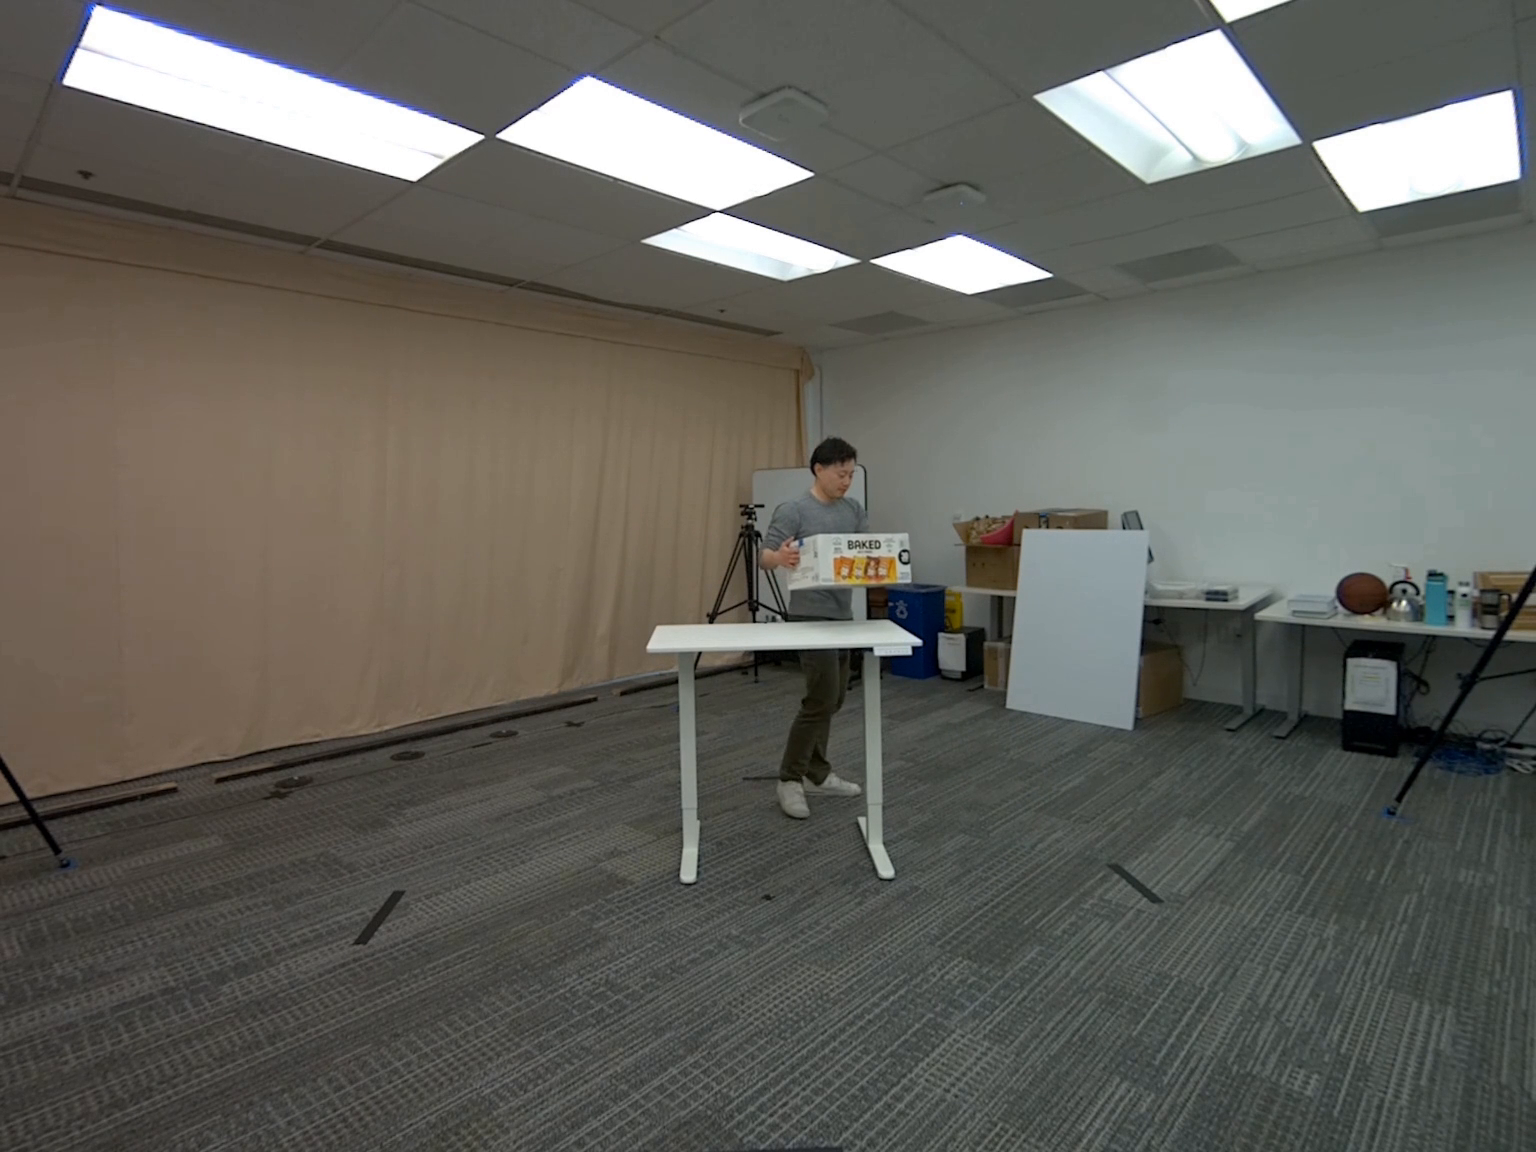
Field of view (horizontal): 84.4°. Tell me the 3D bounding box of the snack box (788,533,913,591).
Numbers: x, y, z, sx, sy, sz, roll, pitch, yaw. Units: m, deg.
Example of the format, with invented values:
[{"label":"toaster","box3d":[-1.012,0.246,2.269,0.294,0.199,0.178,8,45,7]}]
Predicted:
[{"label":"snack box","box3d":[0.328,-0.051,3.509,0.398,0.206,0.345,-1,-5,-18]}]
